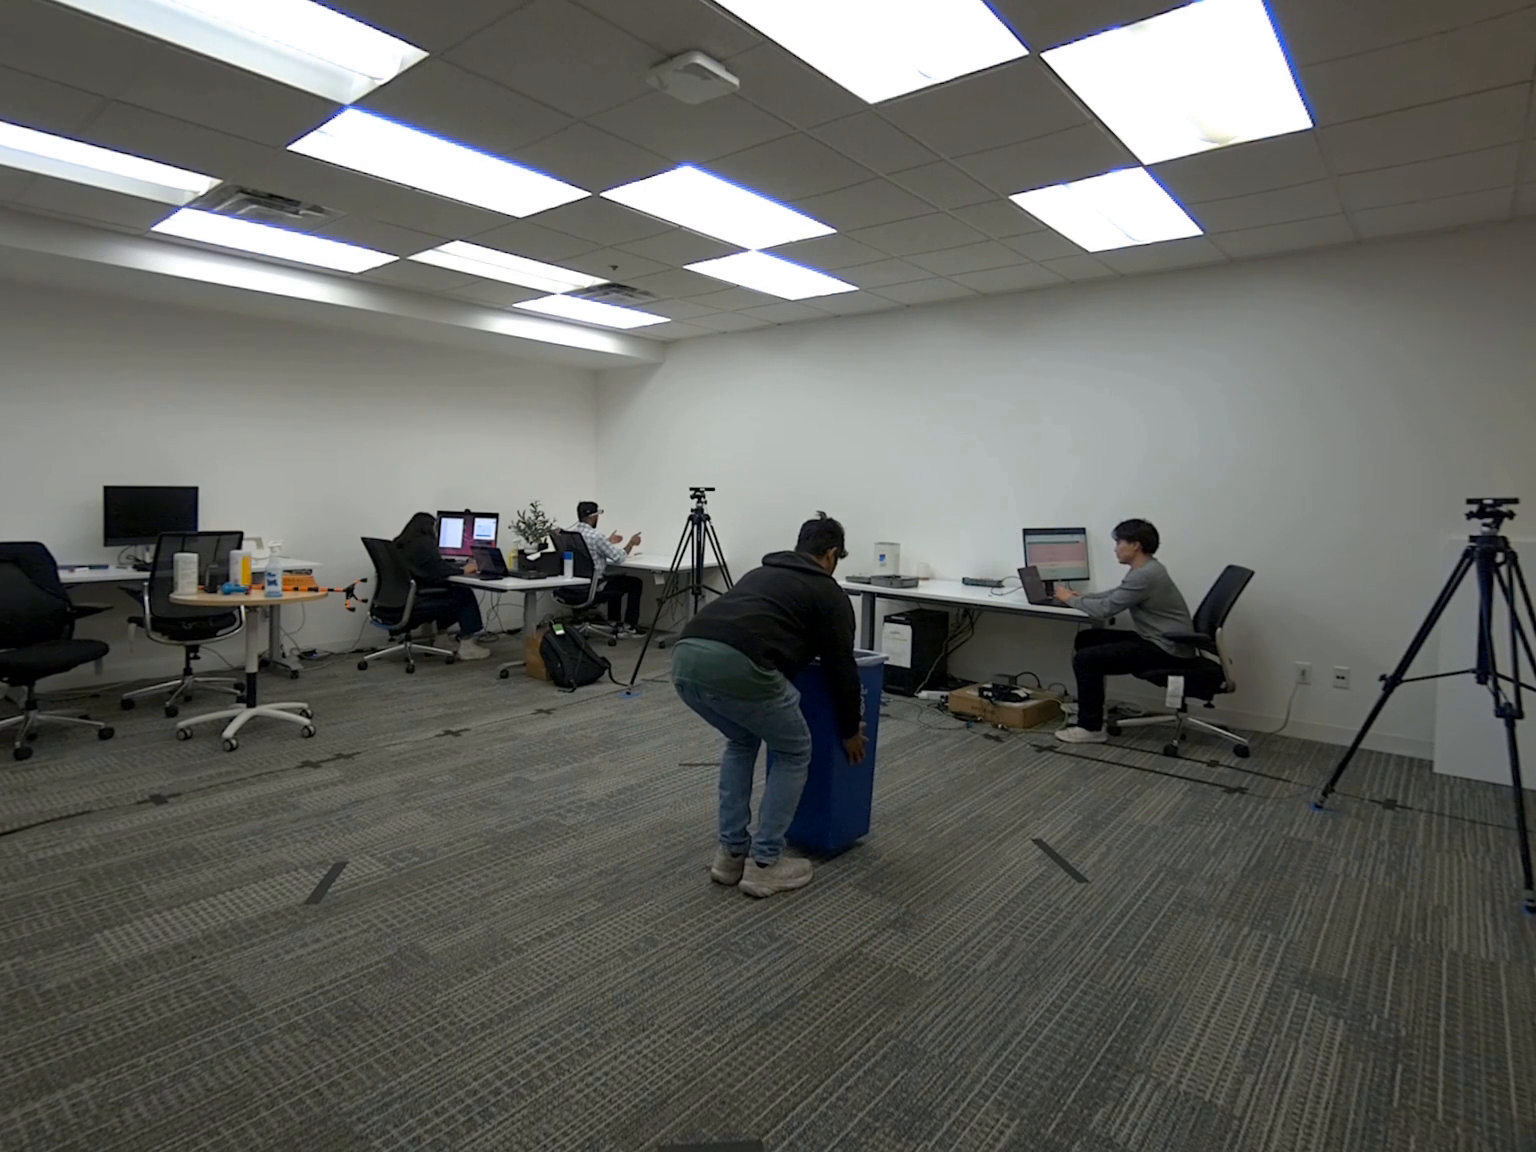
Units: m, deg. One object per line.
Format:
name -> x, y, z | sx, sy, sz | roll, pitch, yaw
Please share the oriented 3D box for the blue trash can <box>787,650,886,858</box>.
blue trash can -> 0.212, 0.651, 3.363 | 0.391, 0.713, 0.362 | 4, 1, 39
